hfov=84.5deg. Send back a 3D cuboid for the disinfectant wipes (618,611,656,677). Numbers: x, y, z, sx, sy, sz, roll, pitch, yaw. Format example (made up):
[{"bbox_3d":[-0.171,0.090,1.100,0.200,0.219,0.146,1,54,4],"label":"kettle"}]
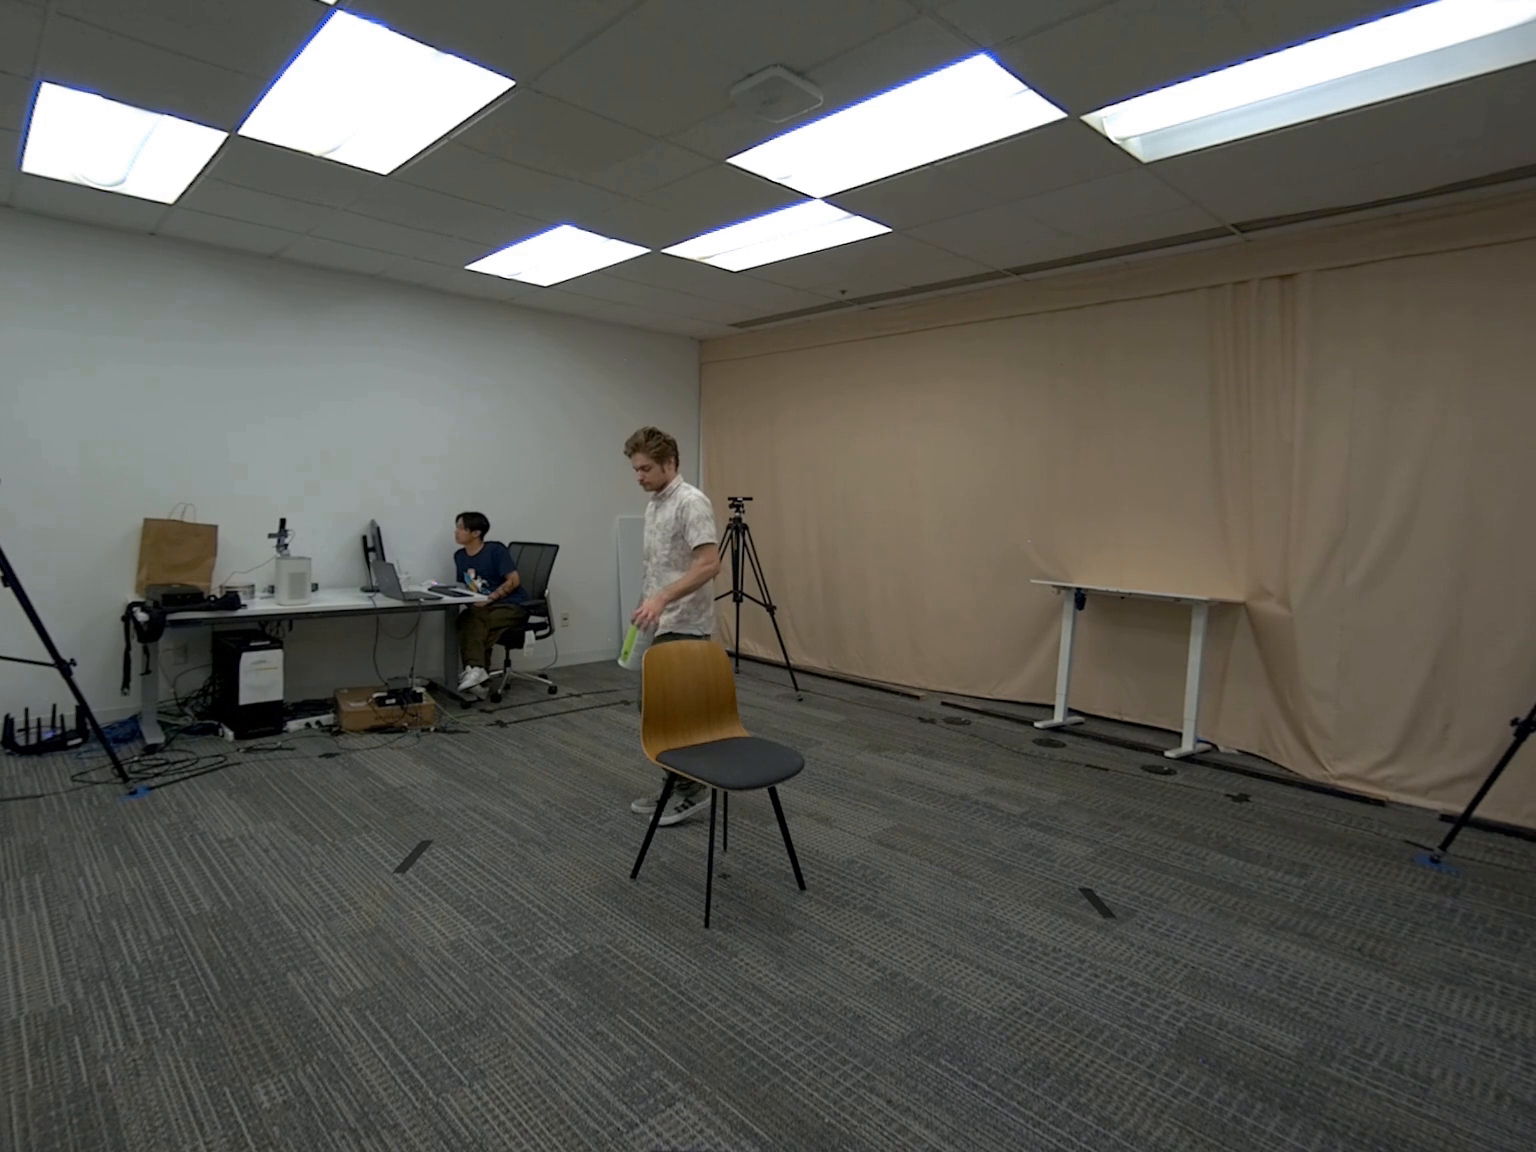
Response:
[{"bbox_3d":[-0.518,0.271,3.418,0.117,0.216,0.118,13,9,-3],"label":"disinfectant wipes"}]
